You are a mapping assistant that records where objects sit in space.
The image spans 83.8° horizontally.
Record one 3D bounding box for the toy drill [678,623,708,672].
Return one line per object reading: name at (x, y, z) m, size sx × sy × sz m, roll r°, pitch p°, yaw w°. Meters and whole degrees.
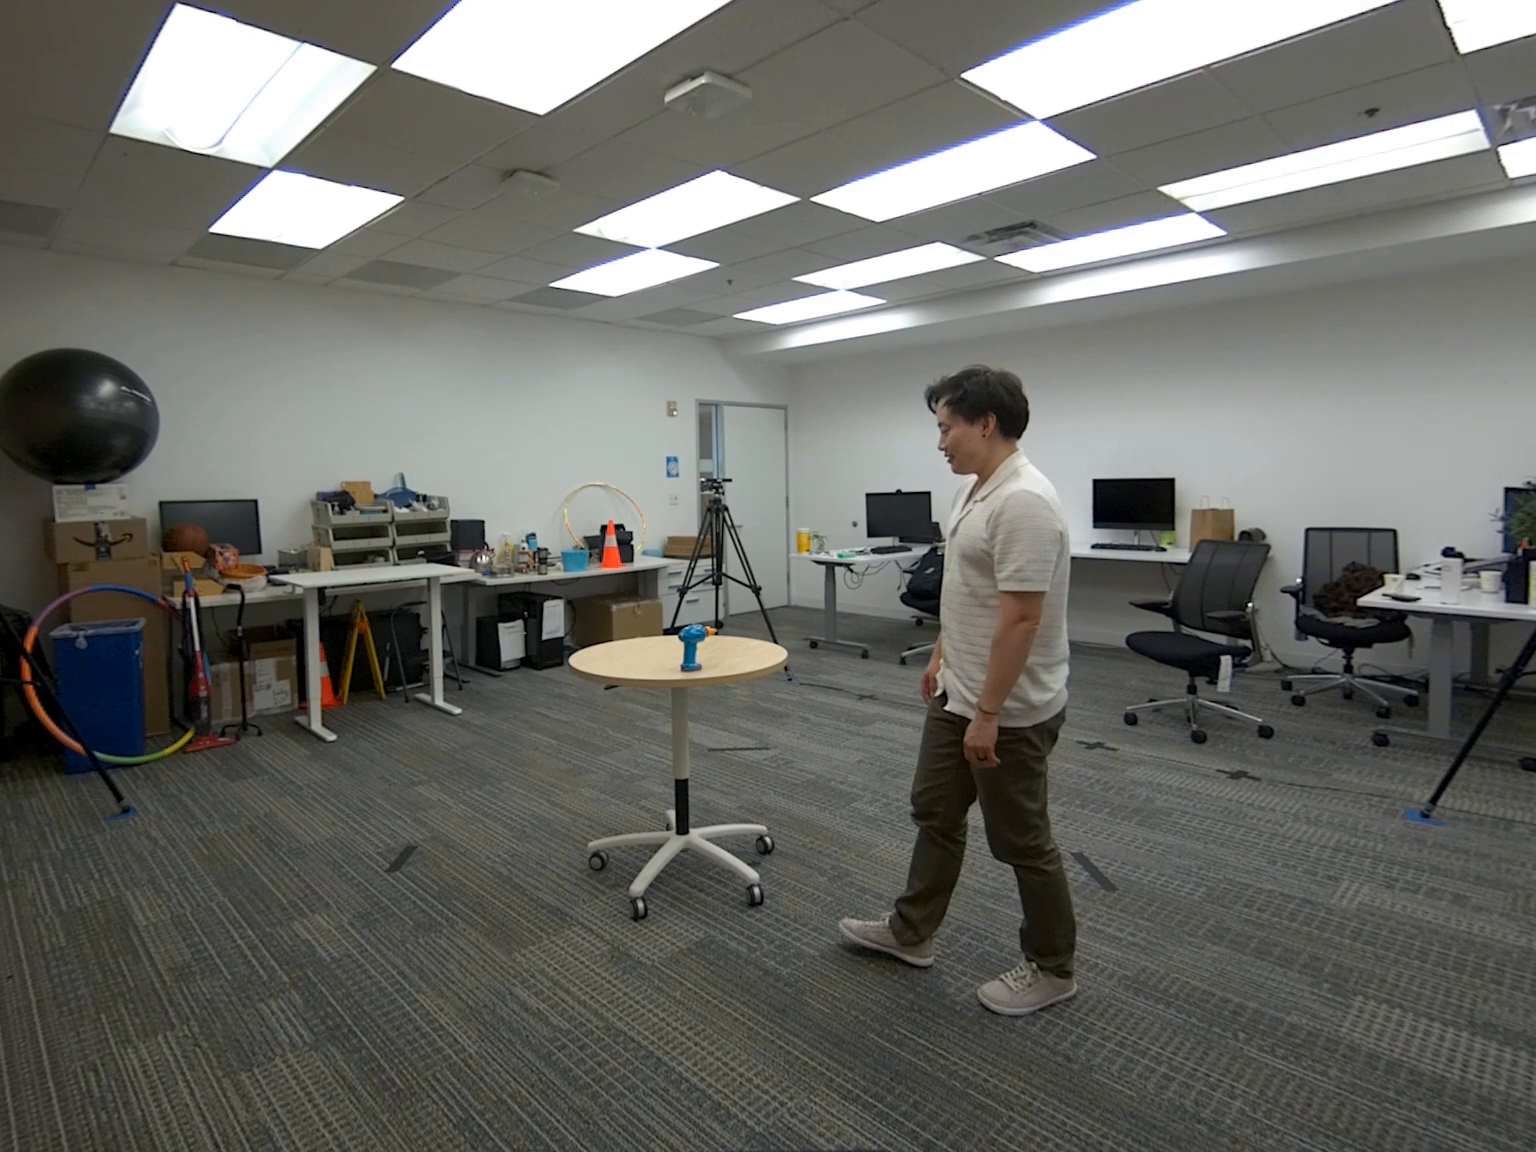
toy drill at (-0.224, 0.226, 2.784) m, size 0.063 × 0.145 × 0.165 m, roll 3°, pitch 6°, yaw 37°
